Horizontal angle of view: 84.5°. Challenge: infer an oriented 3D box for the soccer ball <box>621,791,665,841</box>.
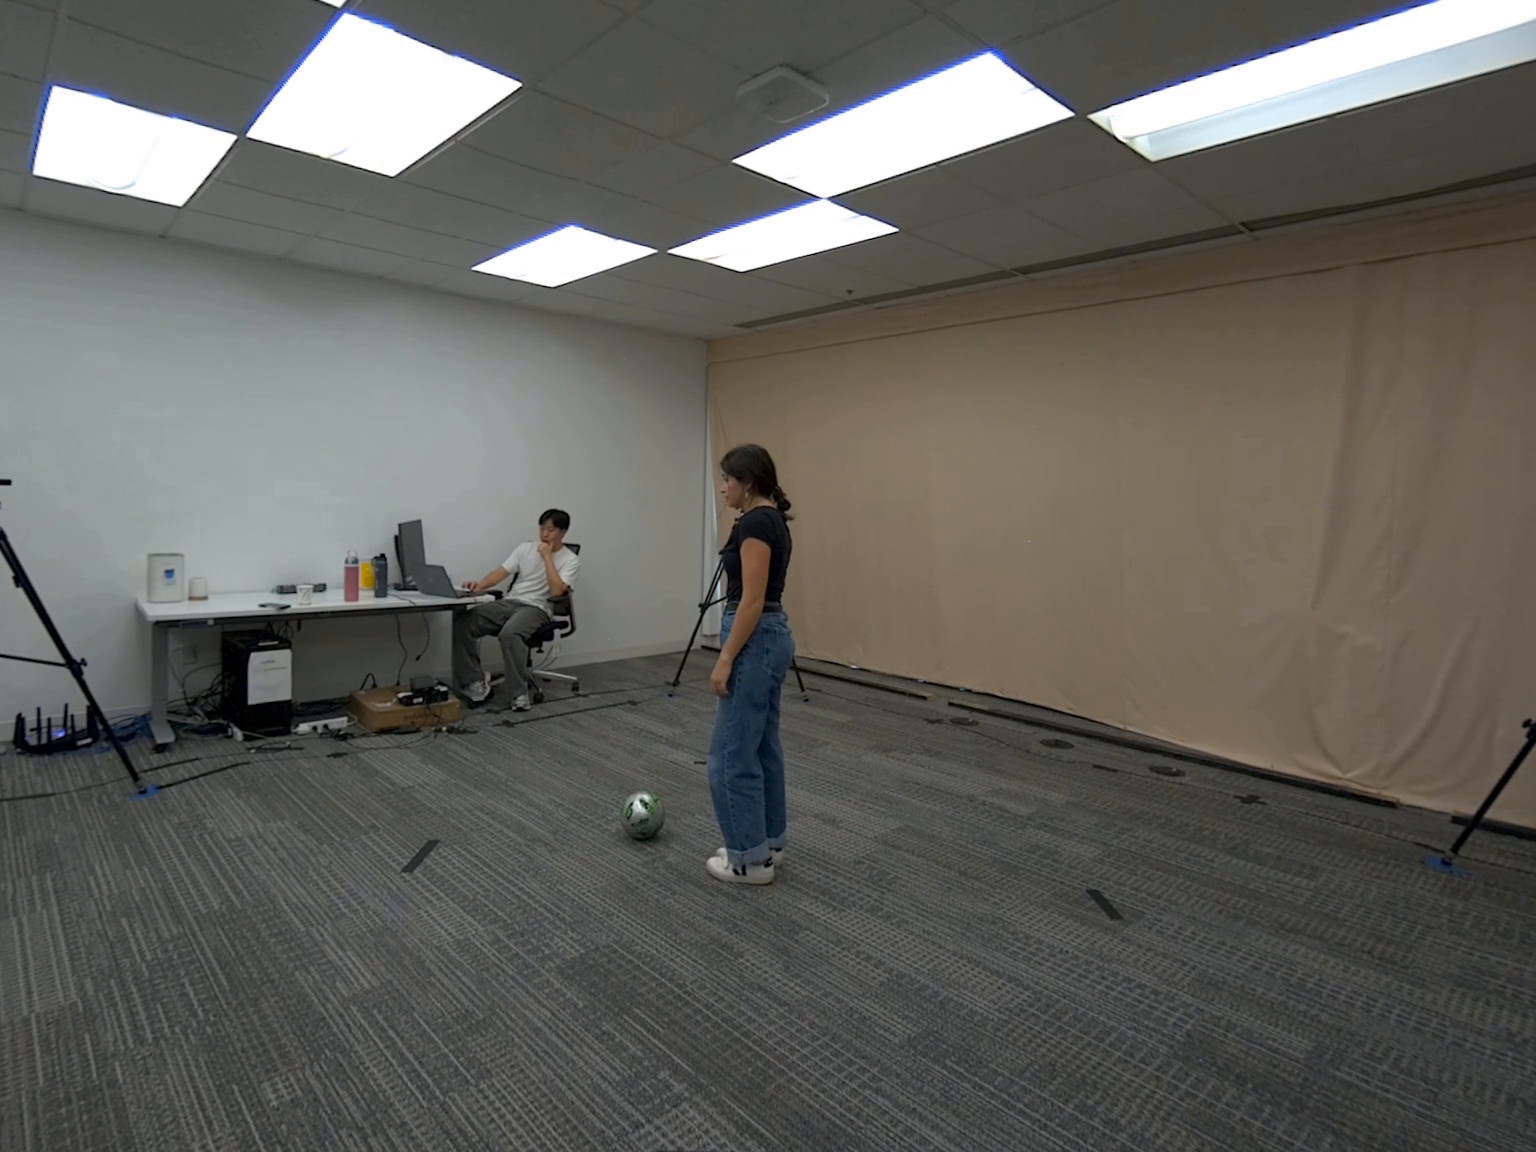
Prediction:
[{"bbox_3d":[-0.520,0.976,3.432,0.187,0.187,0.188,1,4,-1],"label":"soccer ball"}]
